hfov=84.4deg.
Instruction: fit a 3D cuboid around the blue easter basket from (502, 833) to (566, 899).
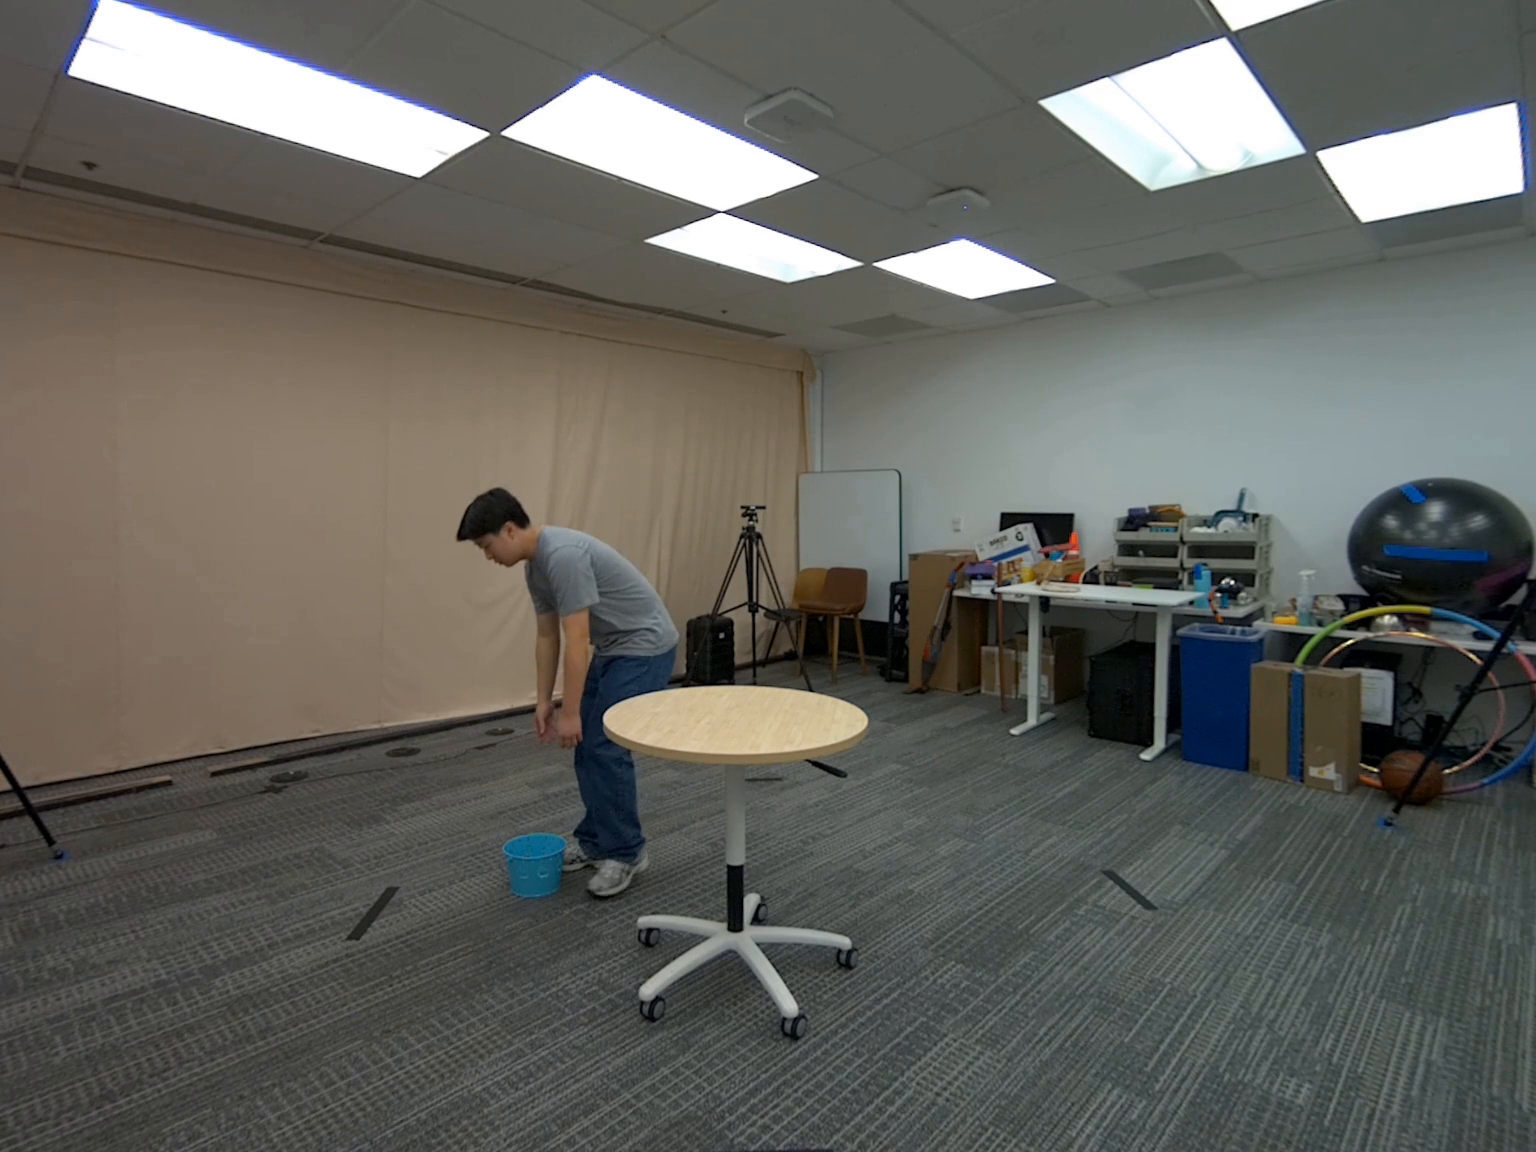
[{"bbox_3d":[-0.853,1.066,3.105,0.243,0.155,0.244,-1,4,-2],"label":"blue easter basket"}]
